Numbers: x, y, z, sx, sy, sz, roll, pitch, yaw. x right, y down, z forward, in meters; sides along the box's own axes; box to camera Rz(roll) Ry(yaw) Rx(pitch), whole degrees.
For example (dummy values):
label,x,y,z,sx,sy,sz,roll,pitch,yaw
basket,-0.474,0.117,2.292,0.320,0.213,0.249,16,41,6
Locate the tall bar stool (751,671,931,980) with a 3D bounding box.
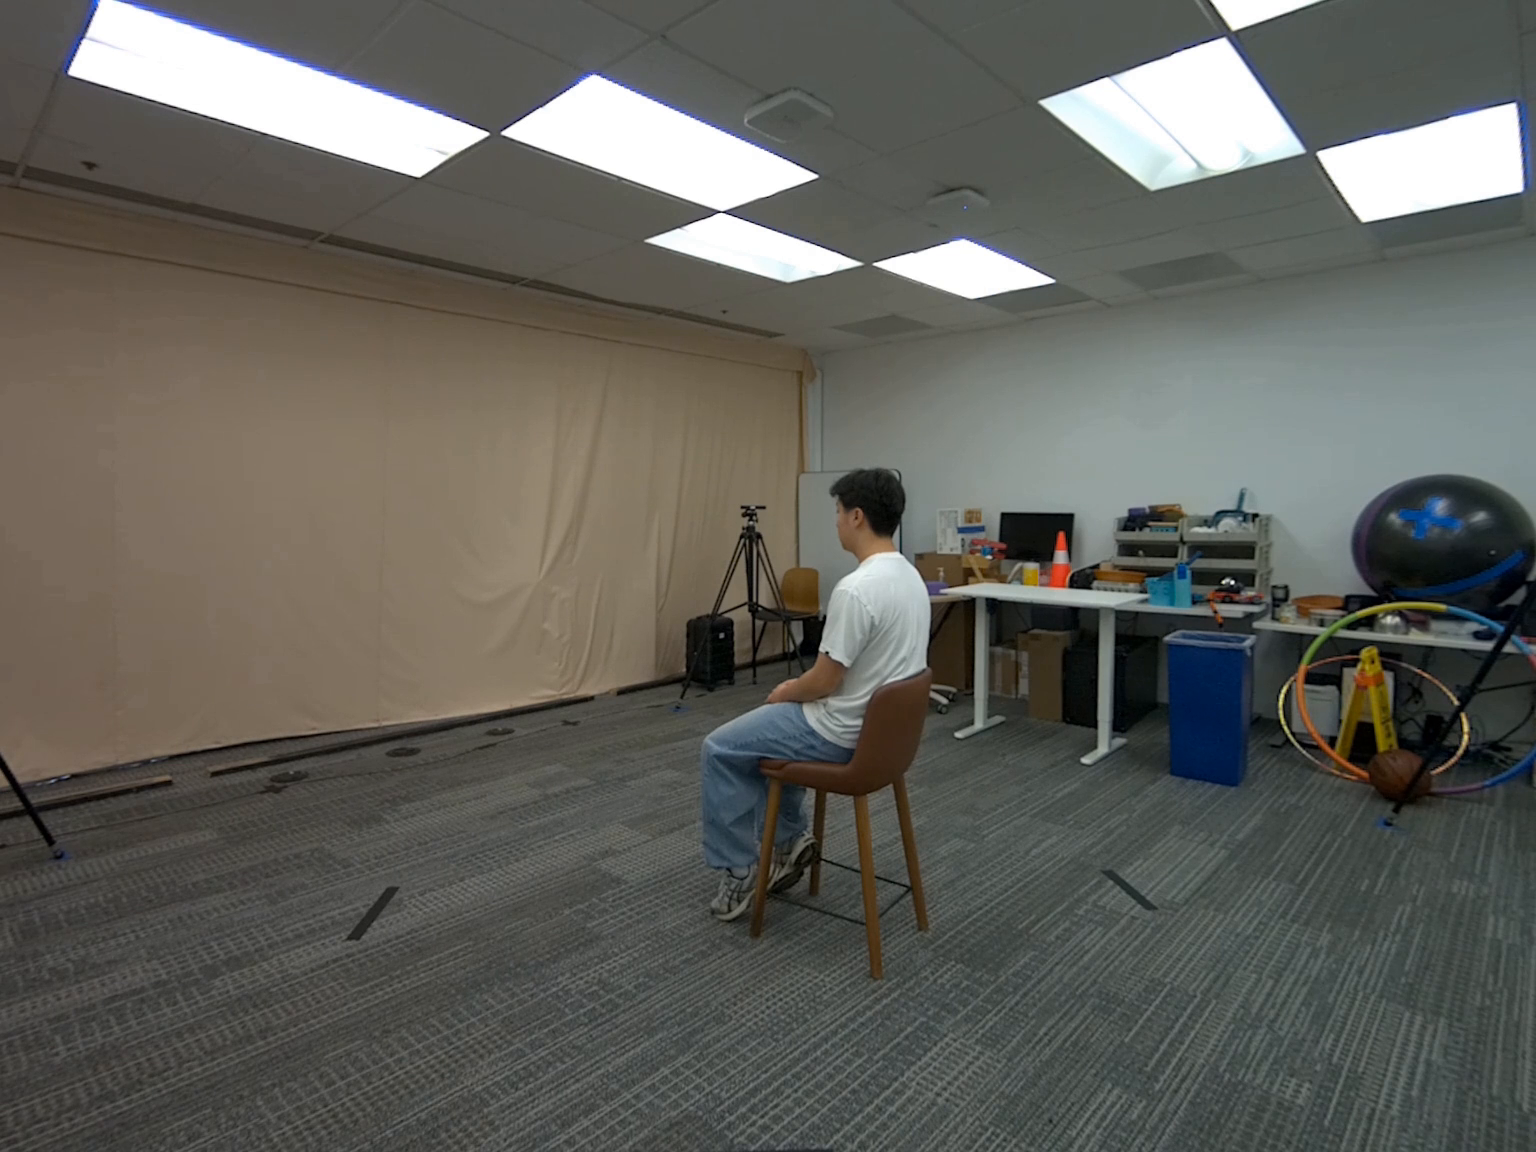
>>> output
label,x,y,z,sx,sy,sz,roll,pitch,yaw
tall bar stool,0.255,0.730,2.714,0.482,0.887,0.444,5,7,34
